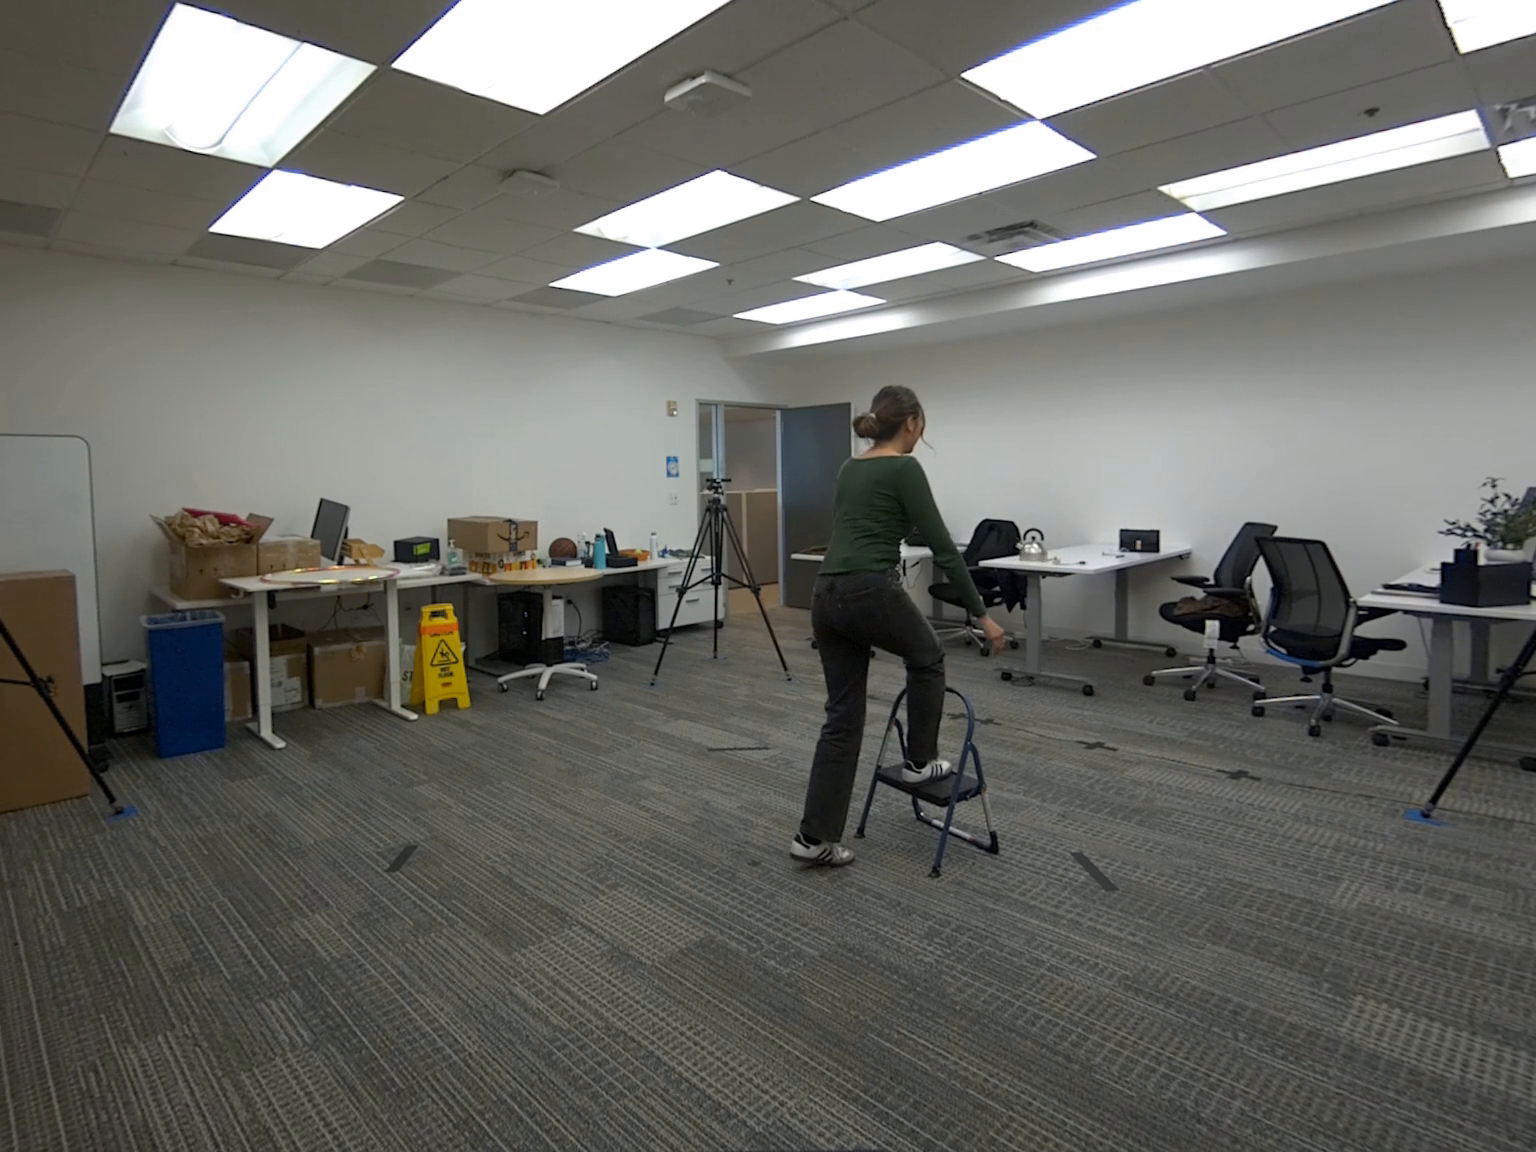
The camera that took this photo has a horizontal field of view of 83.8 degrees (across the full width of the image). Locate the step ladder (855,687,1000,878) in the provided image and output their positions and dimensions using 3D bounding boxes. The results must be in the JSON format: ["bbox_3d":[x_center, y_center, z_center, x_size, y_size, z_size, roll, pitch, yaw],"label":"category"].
[{"bbox_3d":[0.595,0.719,3.218,0.340,0.604,0.443,-4,6,-34],"label":"step ladder"}]
